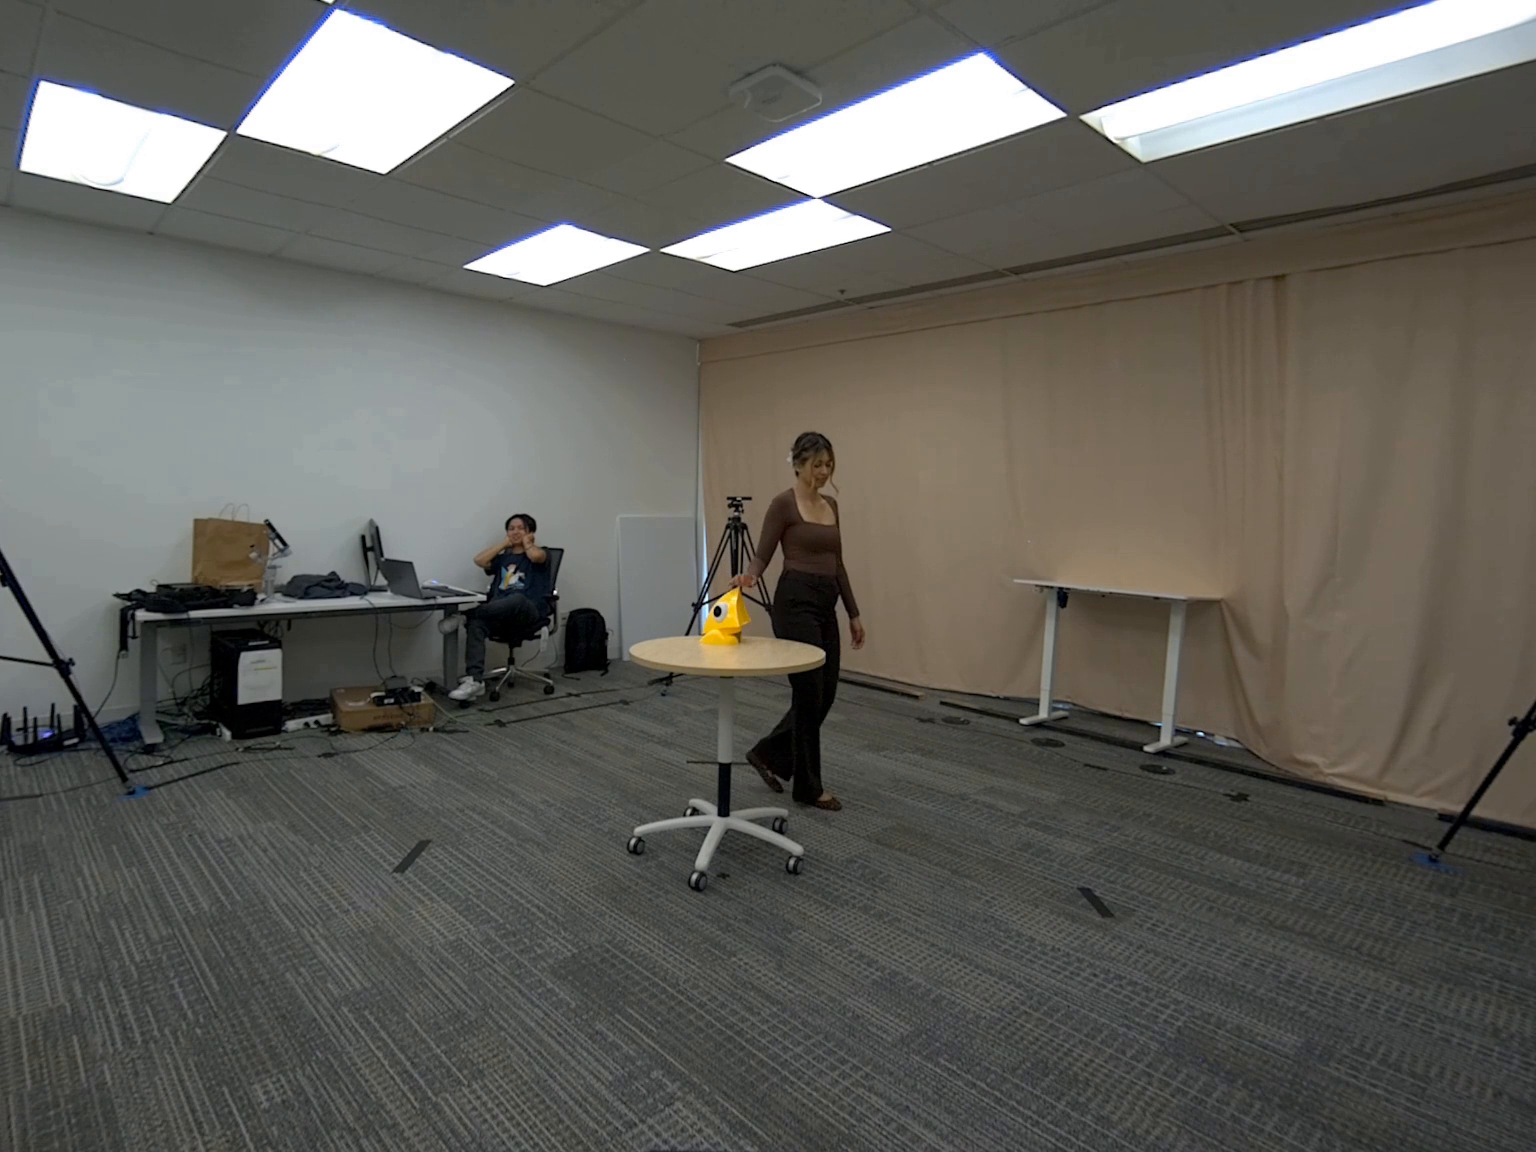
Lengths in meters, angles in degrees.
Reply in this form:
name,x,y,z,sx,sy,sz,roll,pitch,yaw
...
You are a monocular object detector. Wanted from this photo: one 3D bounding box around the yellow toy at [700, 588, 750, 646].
name,x,y,z,sx,sy,sz,roll,pitch,yaw
yellow toy,-0.192,0.160,3.521,0.195,0.230,0.203,2,3,13
